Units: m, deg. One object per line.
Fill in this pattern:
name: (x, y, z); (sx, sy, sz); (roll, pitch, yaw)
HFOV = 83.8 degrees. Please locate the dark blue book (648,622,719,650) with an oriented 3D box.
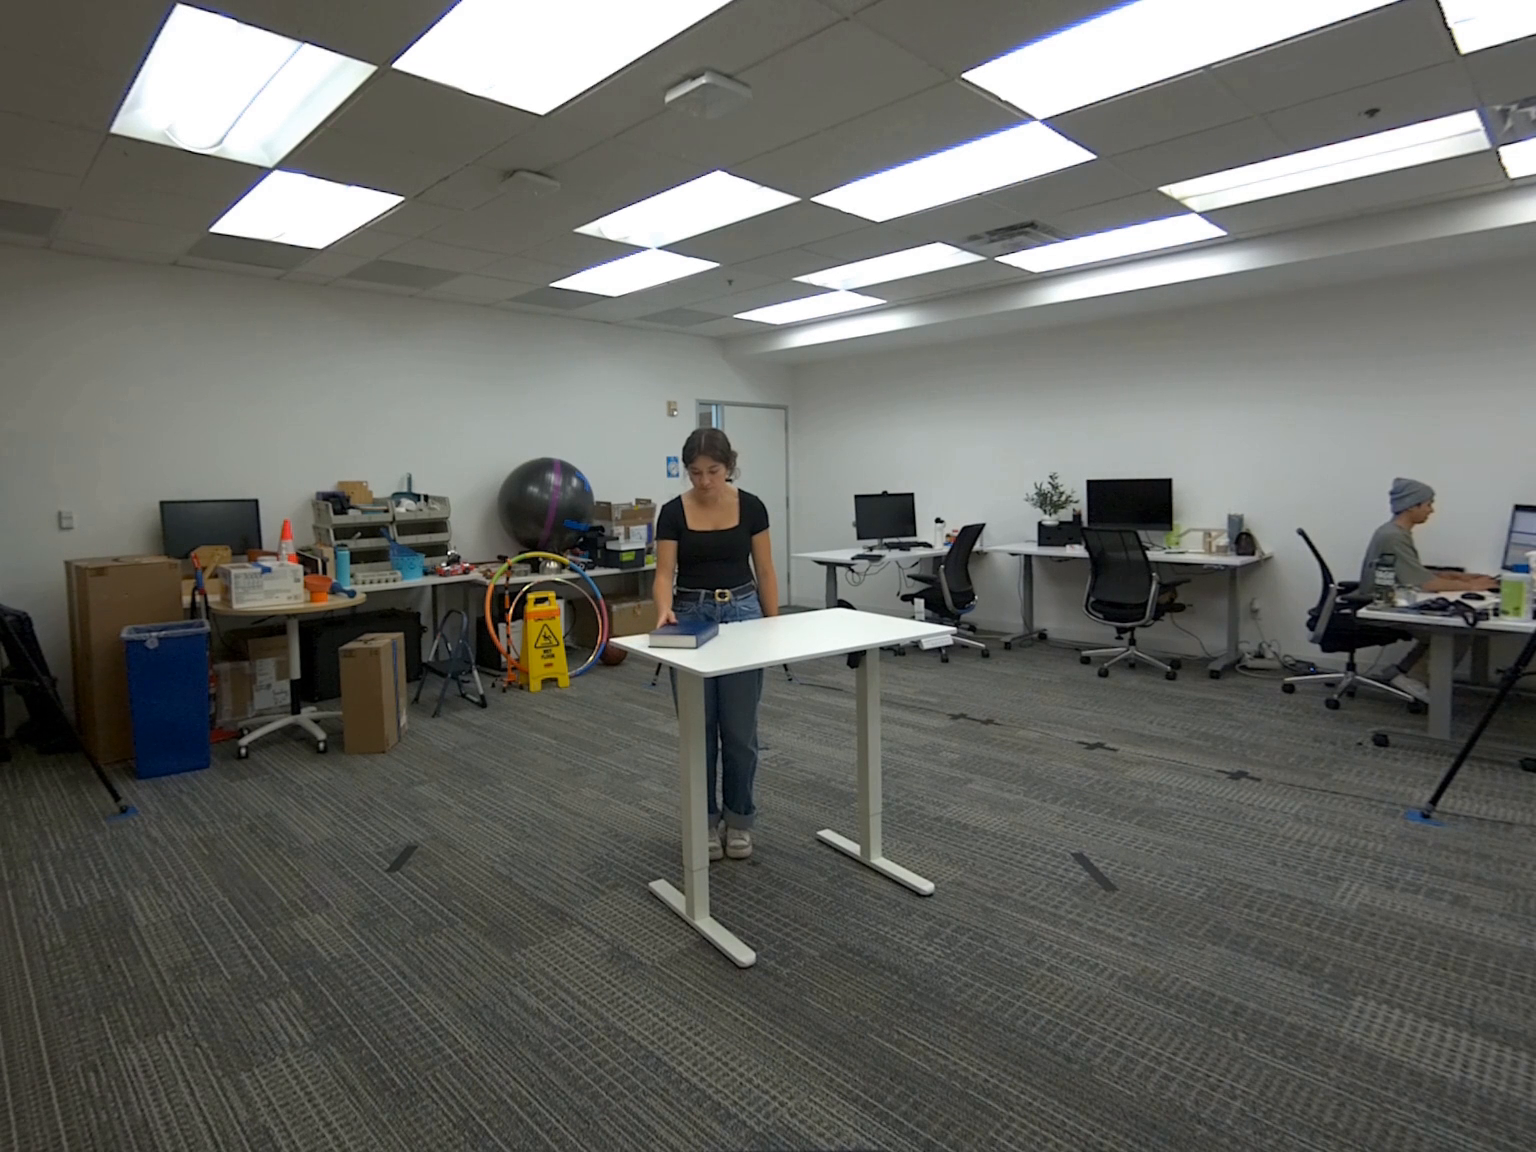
dark blue book: (-0.271, 0.192, 2.751); (0.166, 0.045, 0.242); (-1, 7, 15)
